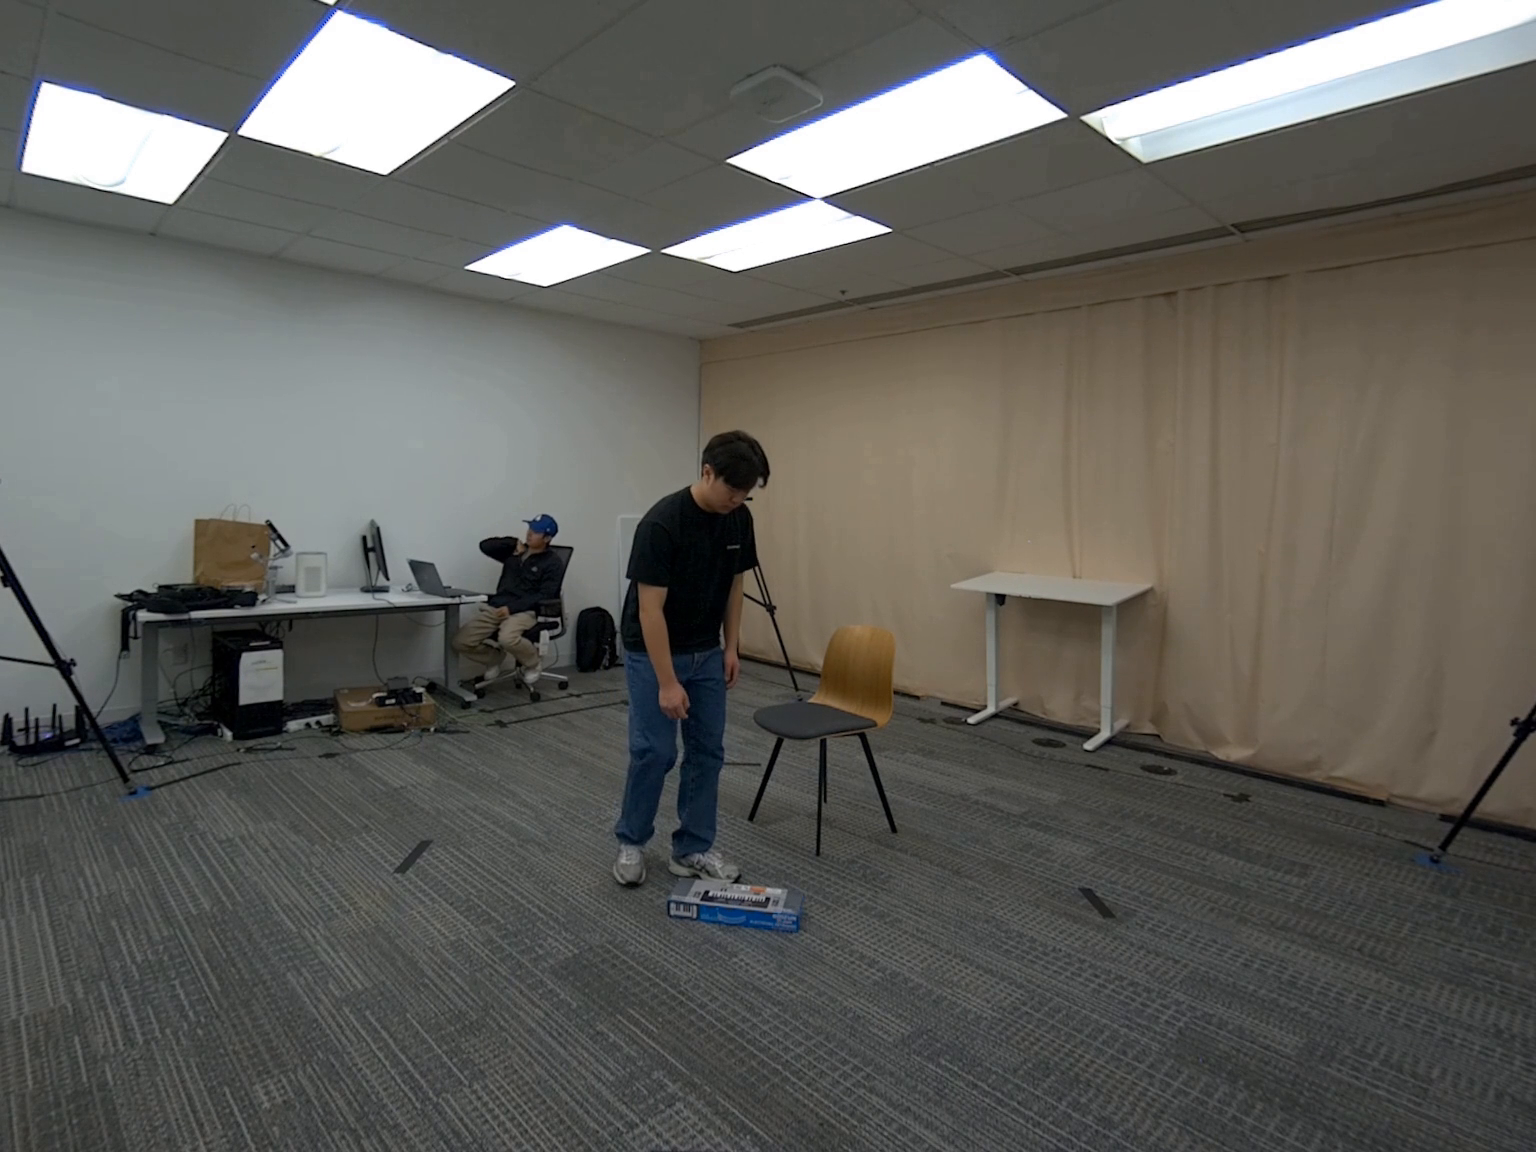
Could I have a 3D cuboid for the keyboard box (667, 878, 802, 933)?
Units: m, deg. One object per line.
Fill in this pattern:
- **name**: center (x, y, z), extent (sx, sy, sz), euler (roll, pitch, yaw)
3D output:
- **keyboard box**: center (-0.110, 1.110, 2.823), extent (0.441, 0.059, 0.175), euler (2, 5, 11)
